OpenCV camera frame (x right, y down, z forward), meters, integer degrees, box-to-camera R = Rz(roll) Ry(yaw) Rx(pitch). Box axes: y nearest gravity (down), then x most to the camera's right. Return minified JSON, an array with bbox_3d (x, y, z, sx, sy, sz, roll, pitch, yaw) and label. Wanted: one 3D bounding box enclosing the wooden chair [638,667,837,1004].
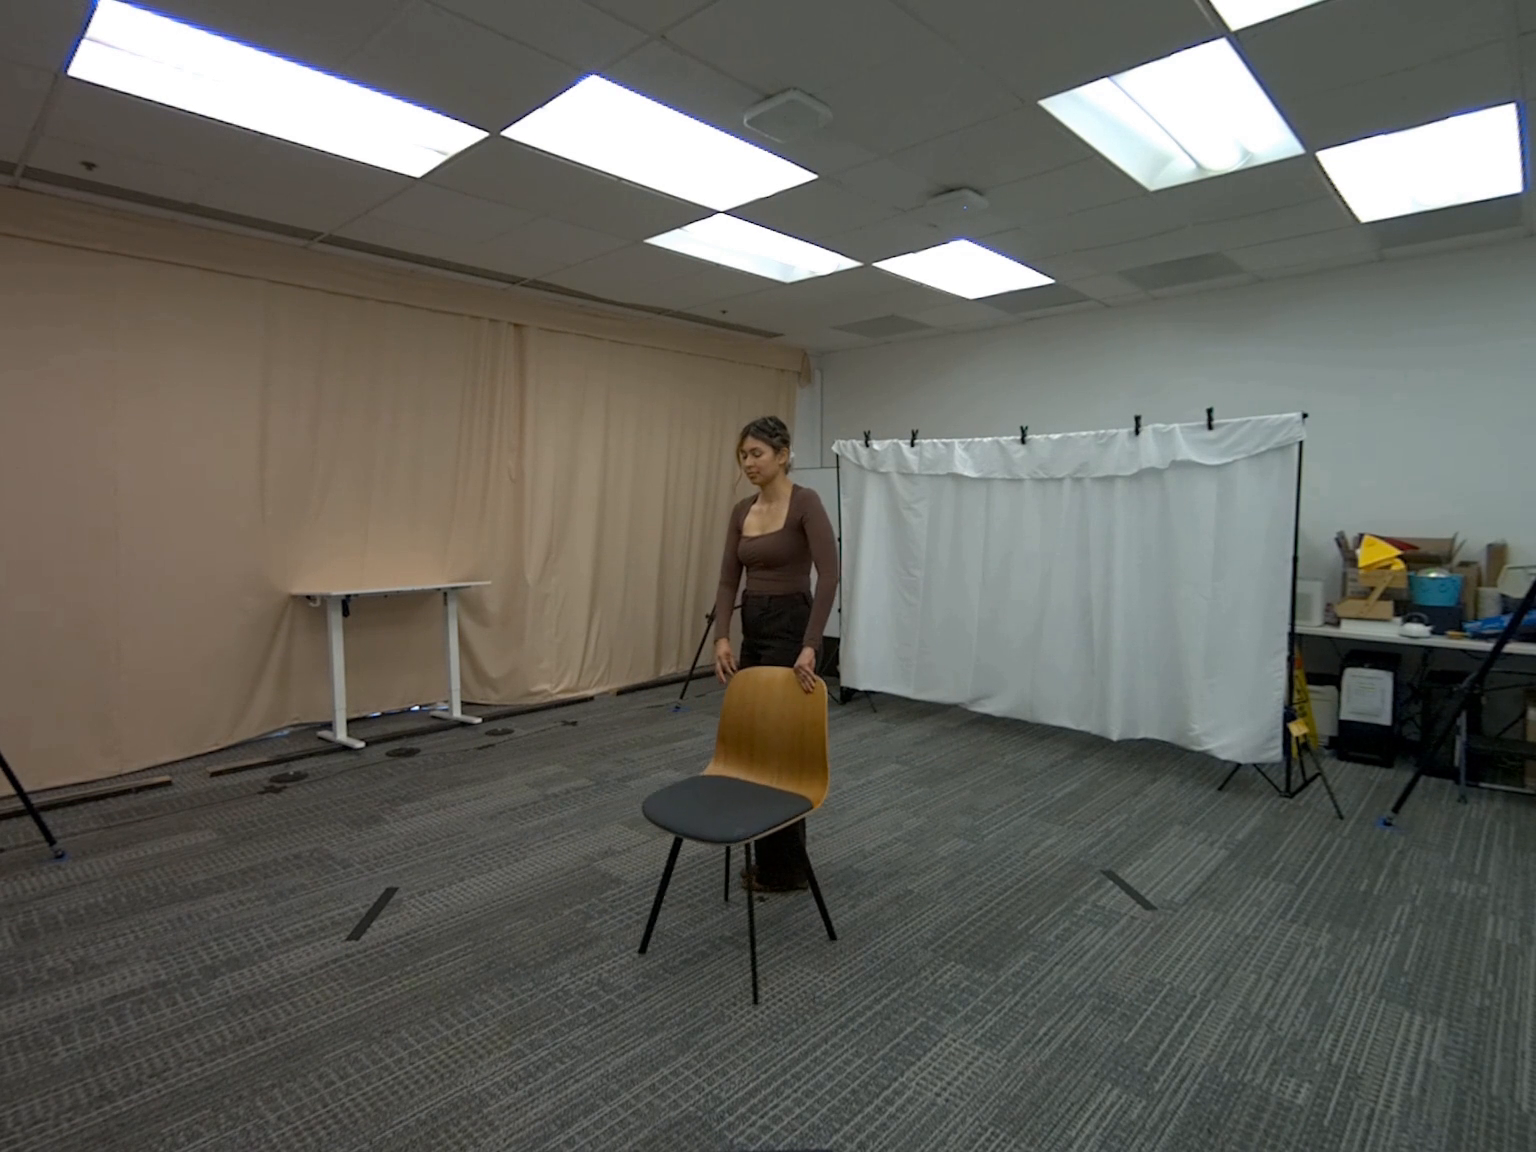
[{"bbox_3d":[-0.090,0.743,2.632,0.493,0.878,0.506,3,-1,37],"label":"wooden chair"}]
